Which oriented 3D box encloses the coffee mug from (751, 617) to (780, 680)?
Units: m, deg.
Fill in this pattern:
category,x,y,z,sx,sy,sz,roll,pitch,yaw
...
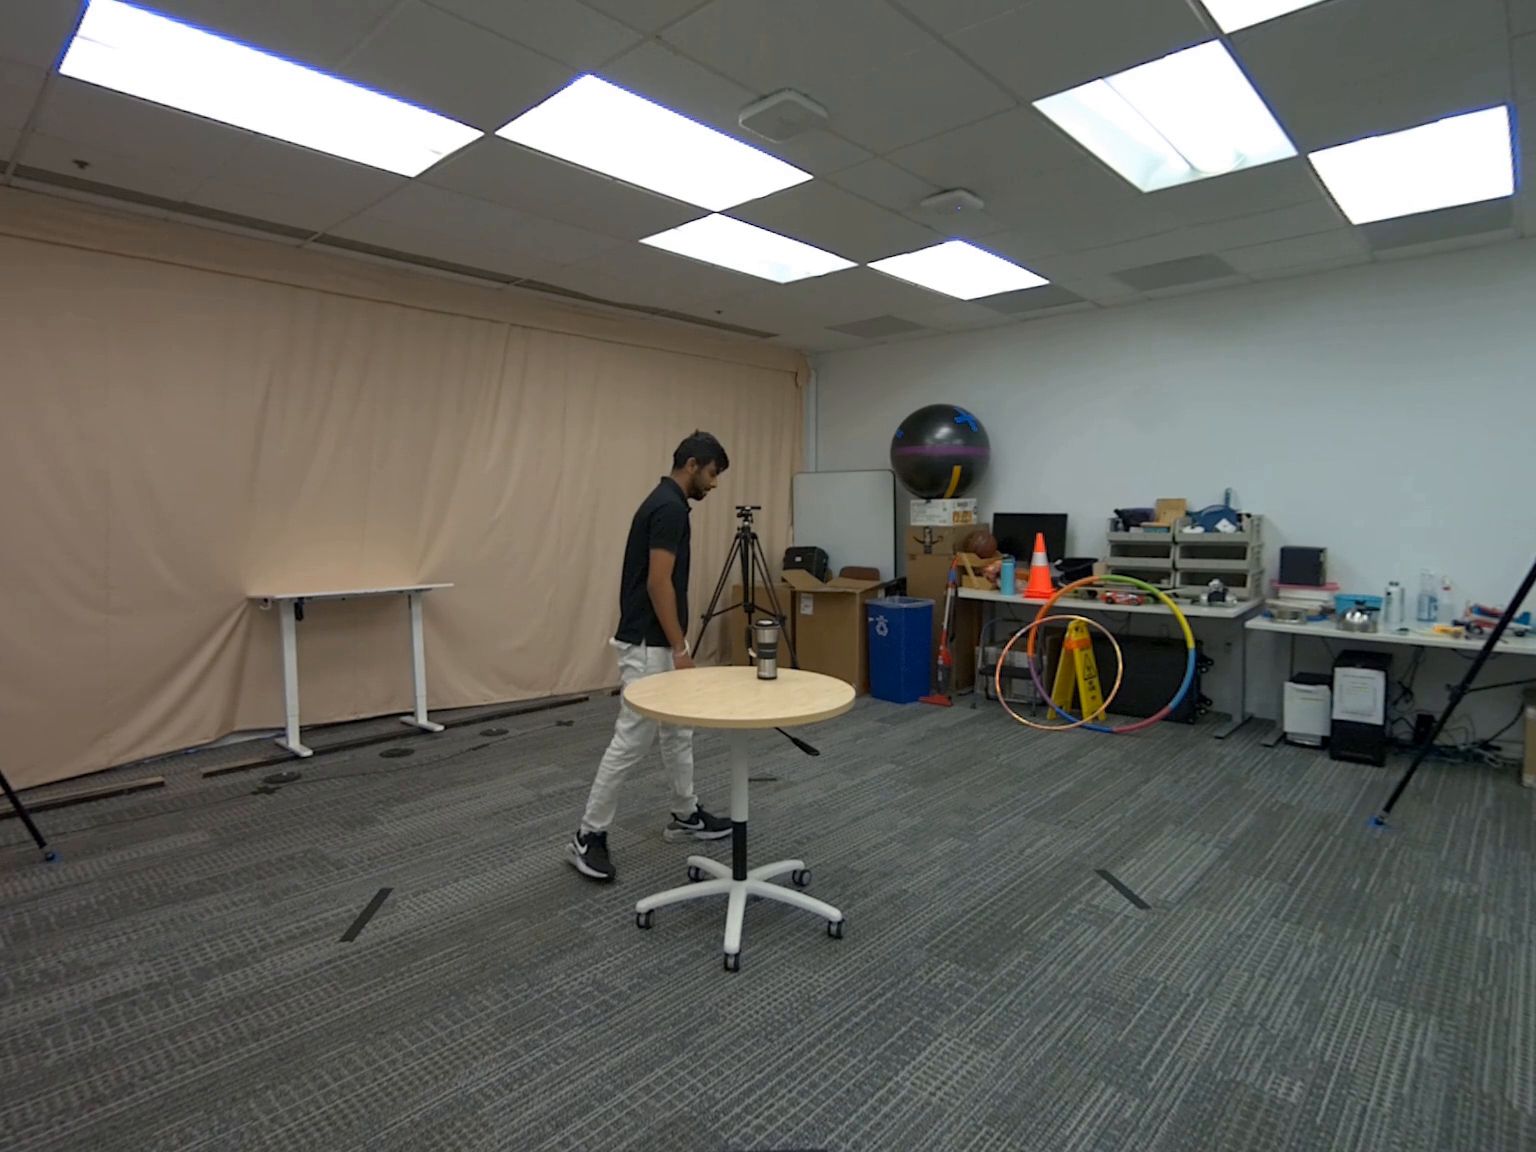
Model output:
category,x,y,z,sx,sy,sz,roll,pitch,yaw
coffee mug,-0.015,0.259,2.980,0.085,0.202,0.126,-9,11,-40
